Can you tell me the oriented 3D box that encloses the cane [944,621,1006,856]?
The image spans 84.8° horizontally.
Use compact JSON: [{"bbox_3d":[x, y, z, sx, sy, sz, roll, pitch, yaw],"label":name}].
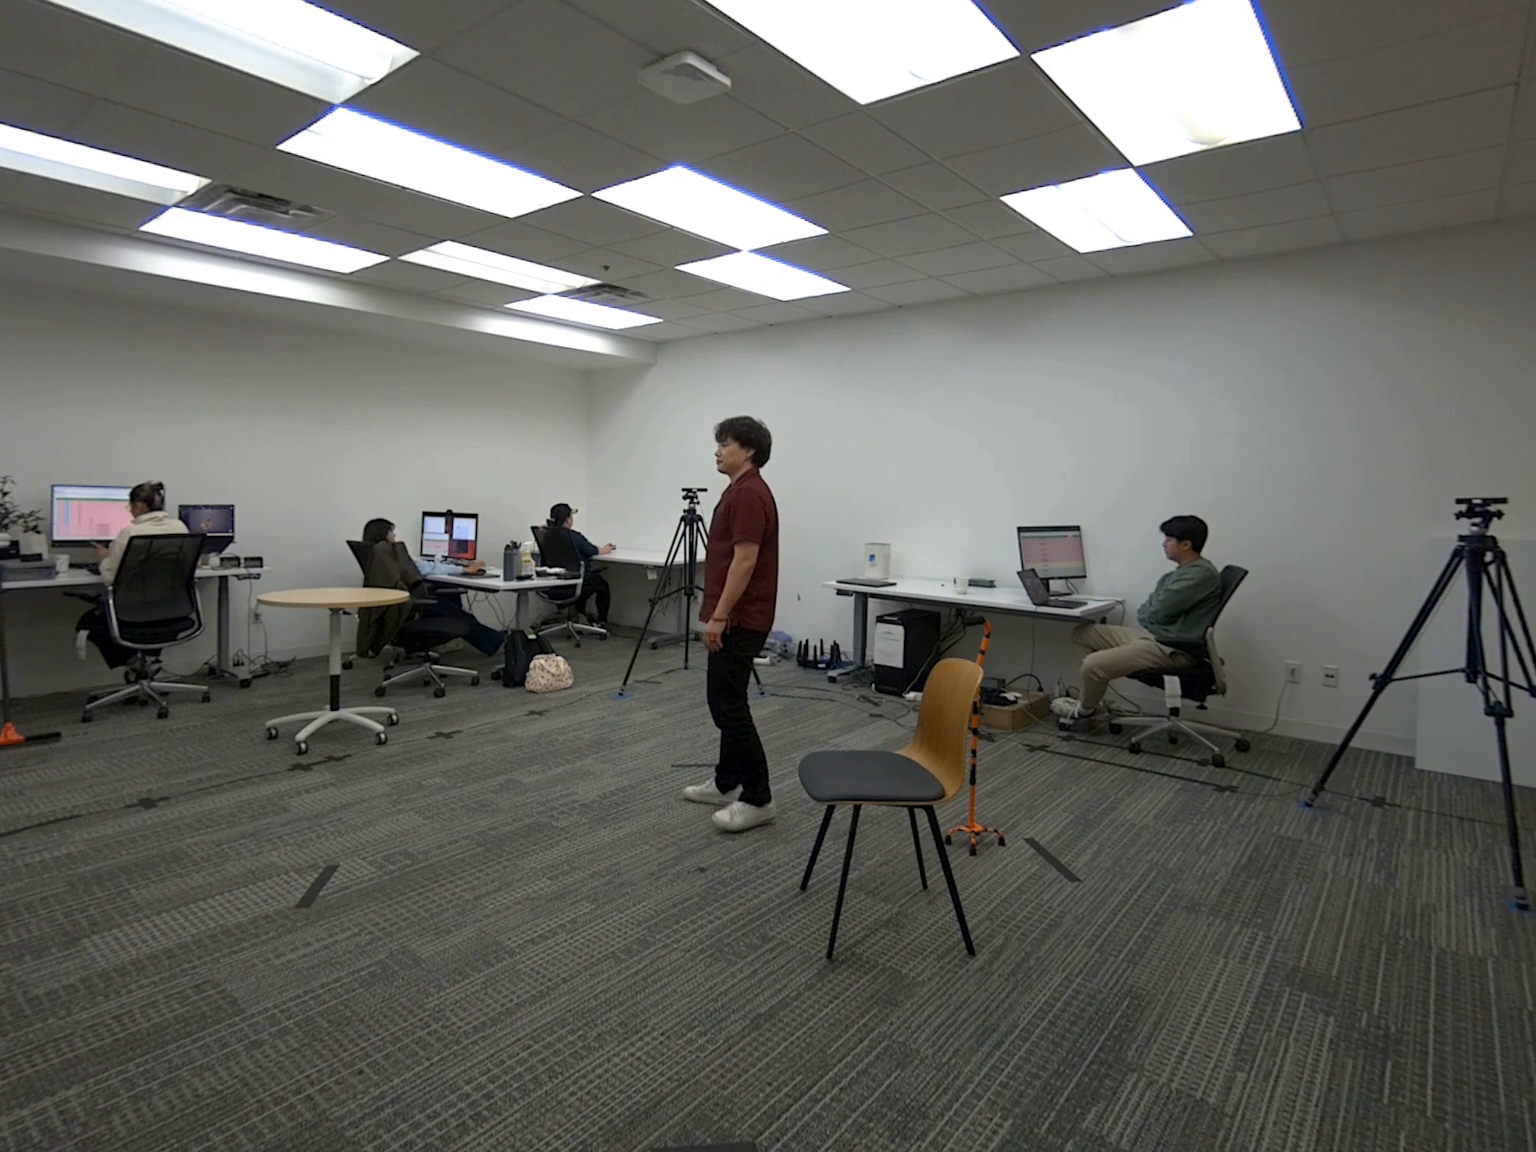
[{"bbox_3d":[0.823,0.615,3.374,0.200,0.905,0.156,-2,4,-38],"label":"cane"}]
